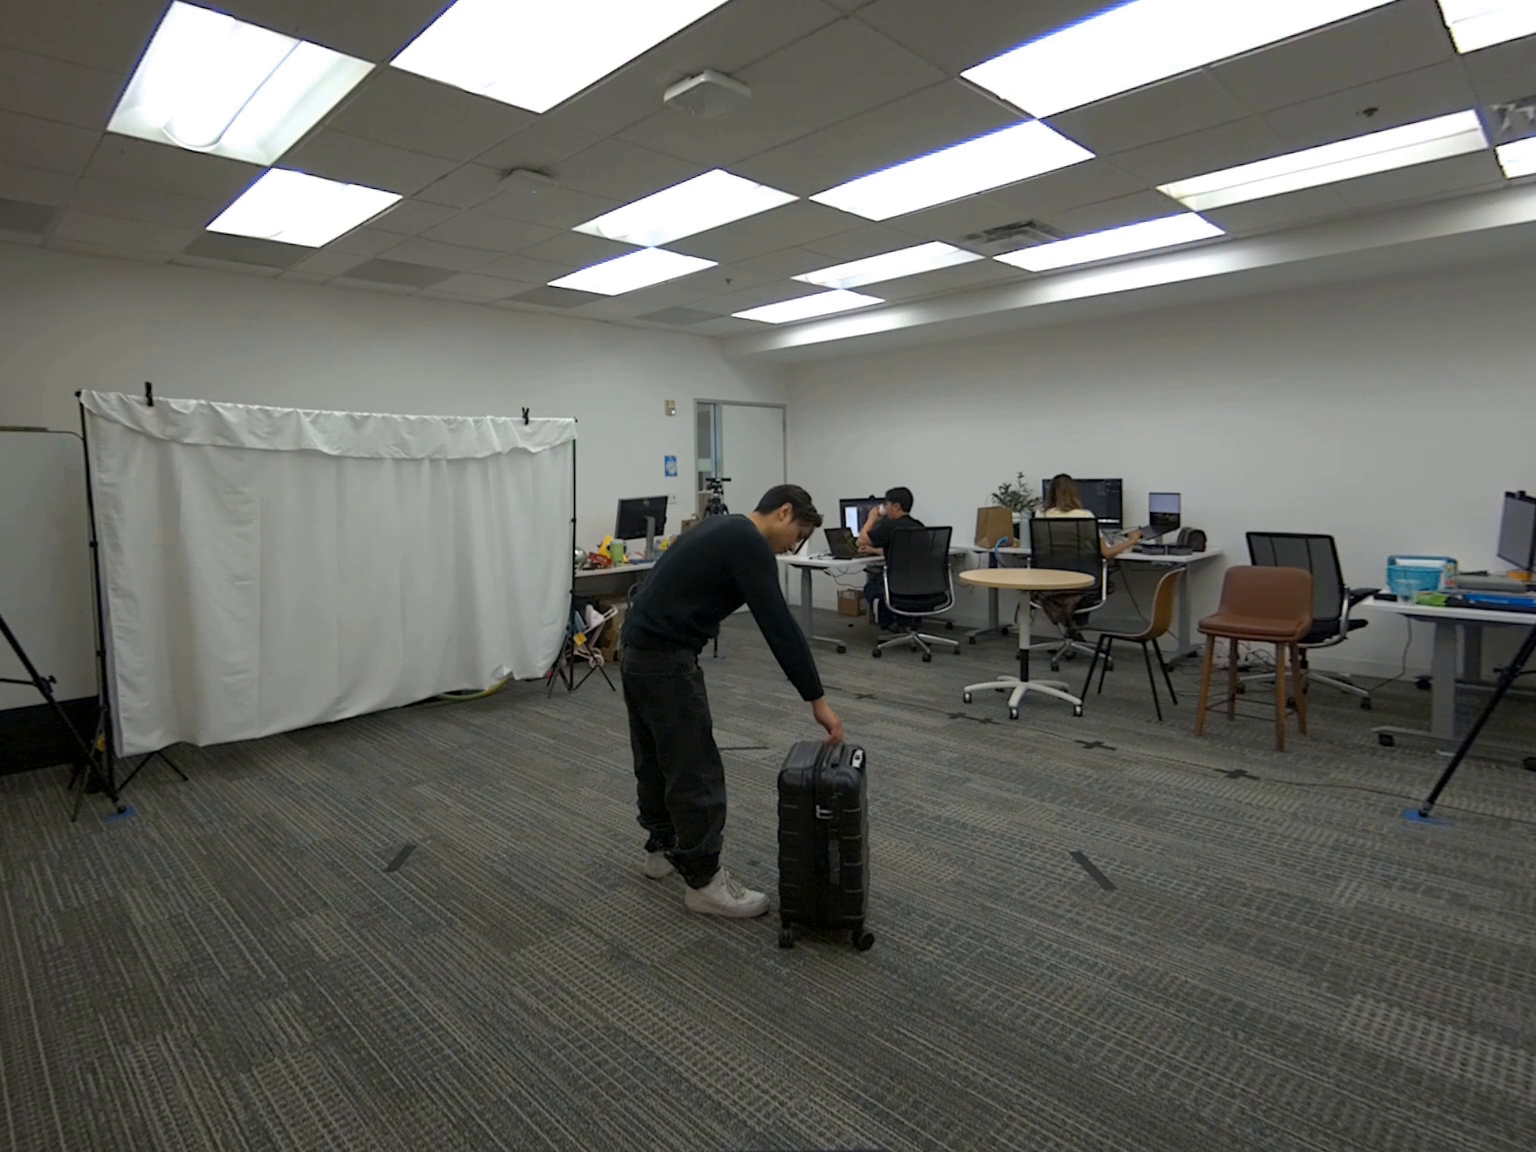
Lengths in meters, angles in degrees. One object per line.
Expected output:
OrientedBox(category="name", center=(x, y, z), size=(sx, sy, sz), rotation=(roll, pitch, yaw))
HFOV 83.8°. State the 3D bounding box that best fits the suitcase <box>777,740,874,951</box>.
OrientedBox(category="suitcase", center=(0.175, 0.806, 2.674), size=(0.252, 0.547, 0.372), rotation=(0, 6, 13))
